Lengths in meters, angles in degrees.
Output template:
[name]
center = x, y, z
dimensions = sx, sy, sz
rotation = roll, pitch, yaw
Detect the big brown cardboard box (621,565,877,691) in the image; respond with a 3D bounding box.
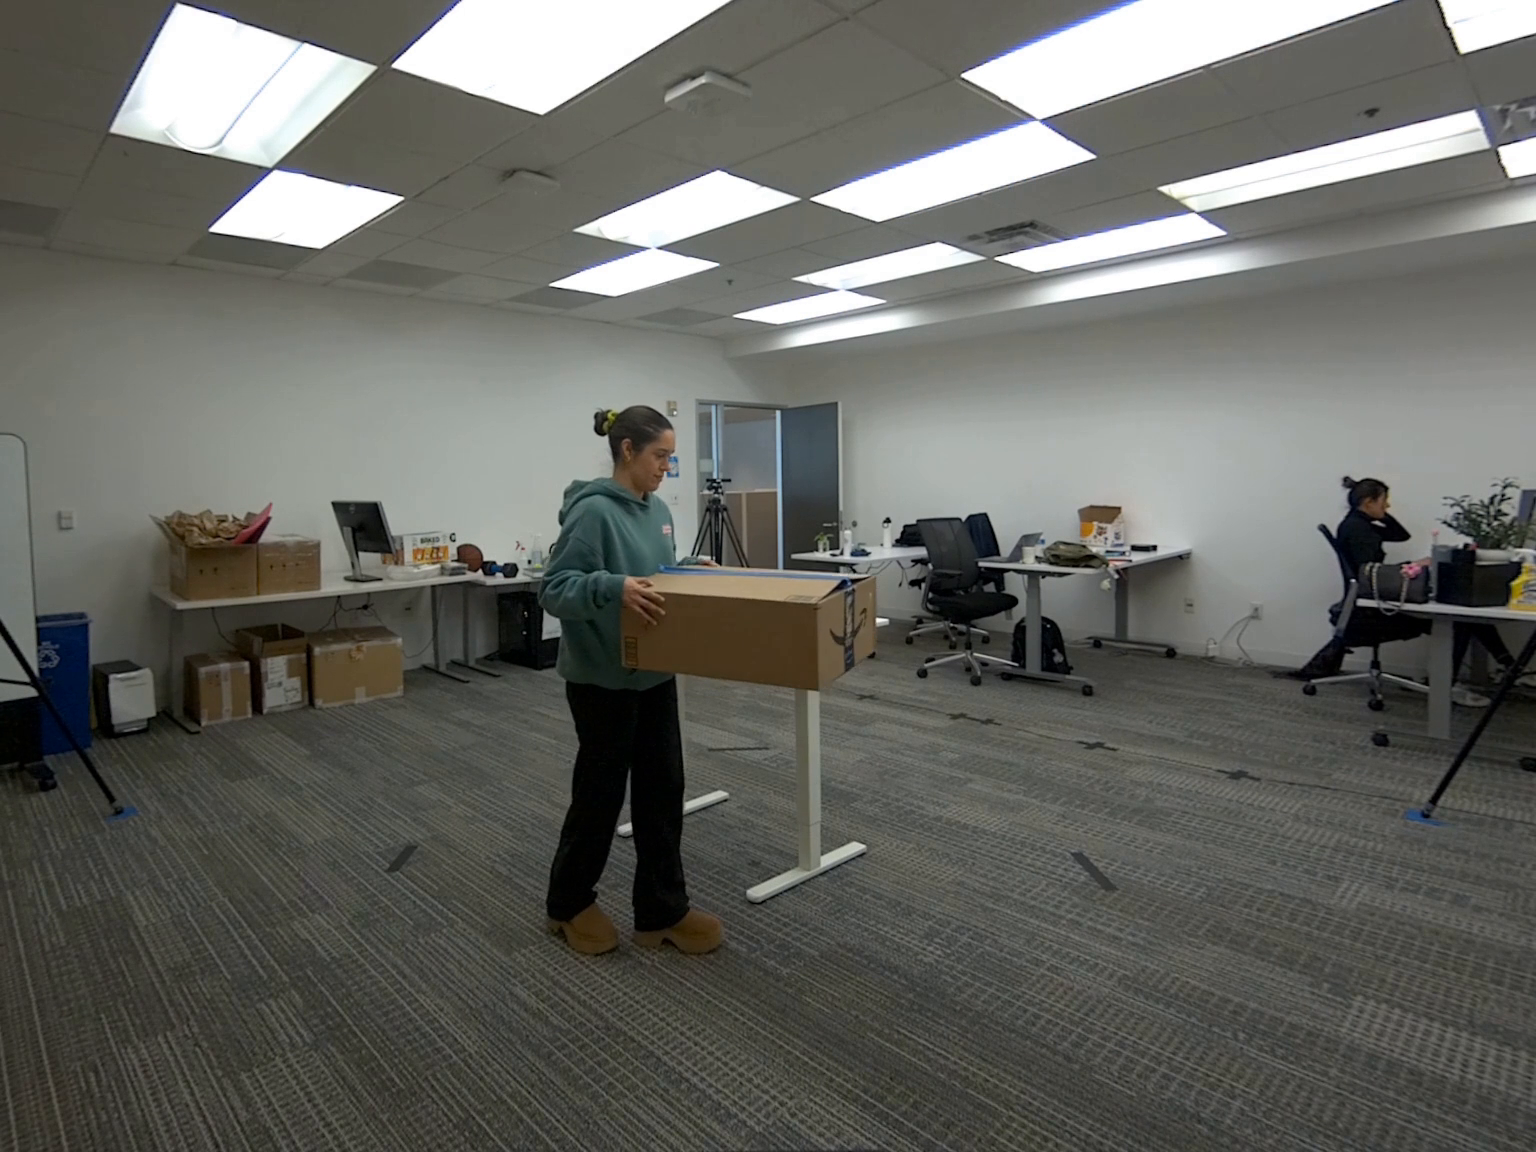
[big brown cardboard box]
center = -0.043, 0.112, 2.311
dimensions = 0.604, 0.232, 0.410
rotation = 2, 8, 27
